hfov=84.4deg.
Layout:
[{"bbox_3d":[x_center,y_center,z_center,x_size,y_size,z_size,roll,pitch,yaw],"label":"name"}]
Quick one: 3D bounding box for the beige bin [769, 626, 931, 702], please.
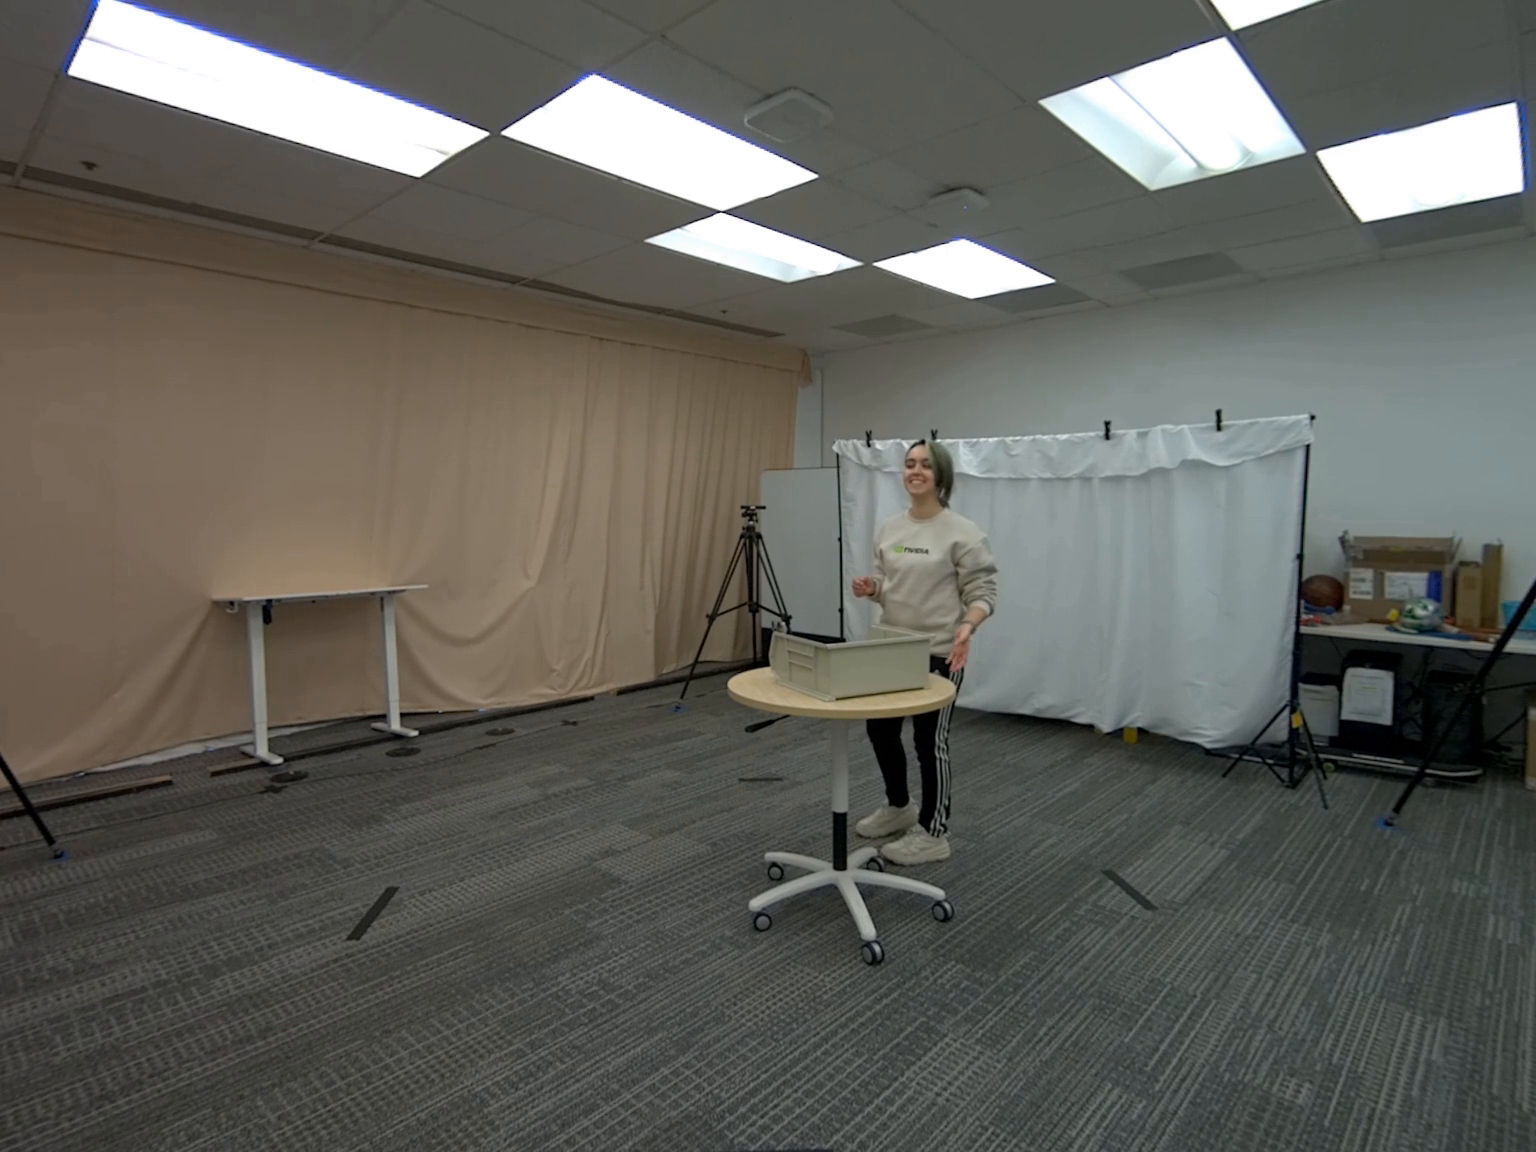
[{"bbox_3d":[0.282,0.282,2.830,0.412,0.188,0.387,-2,5,-25],"label":"beige bin"}]
